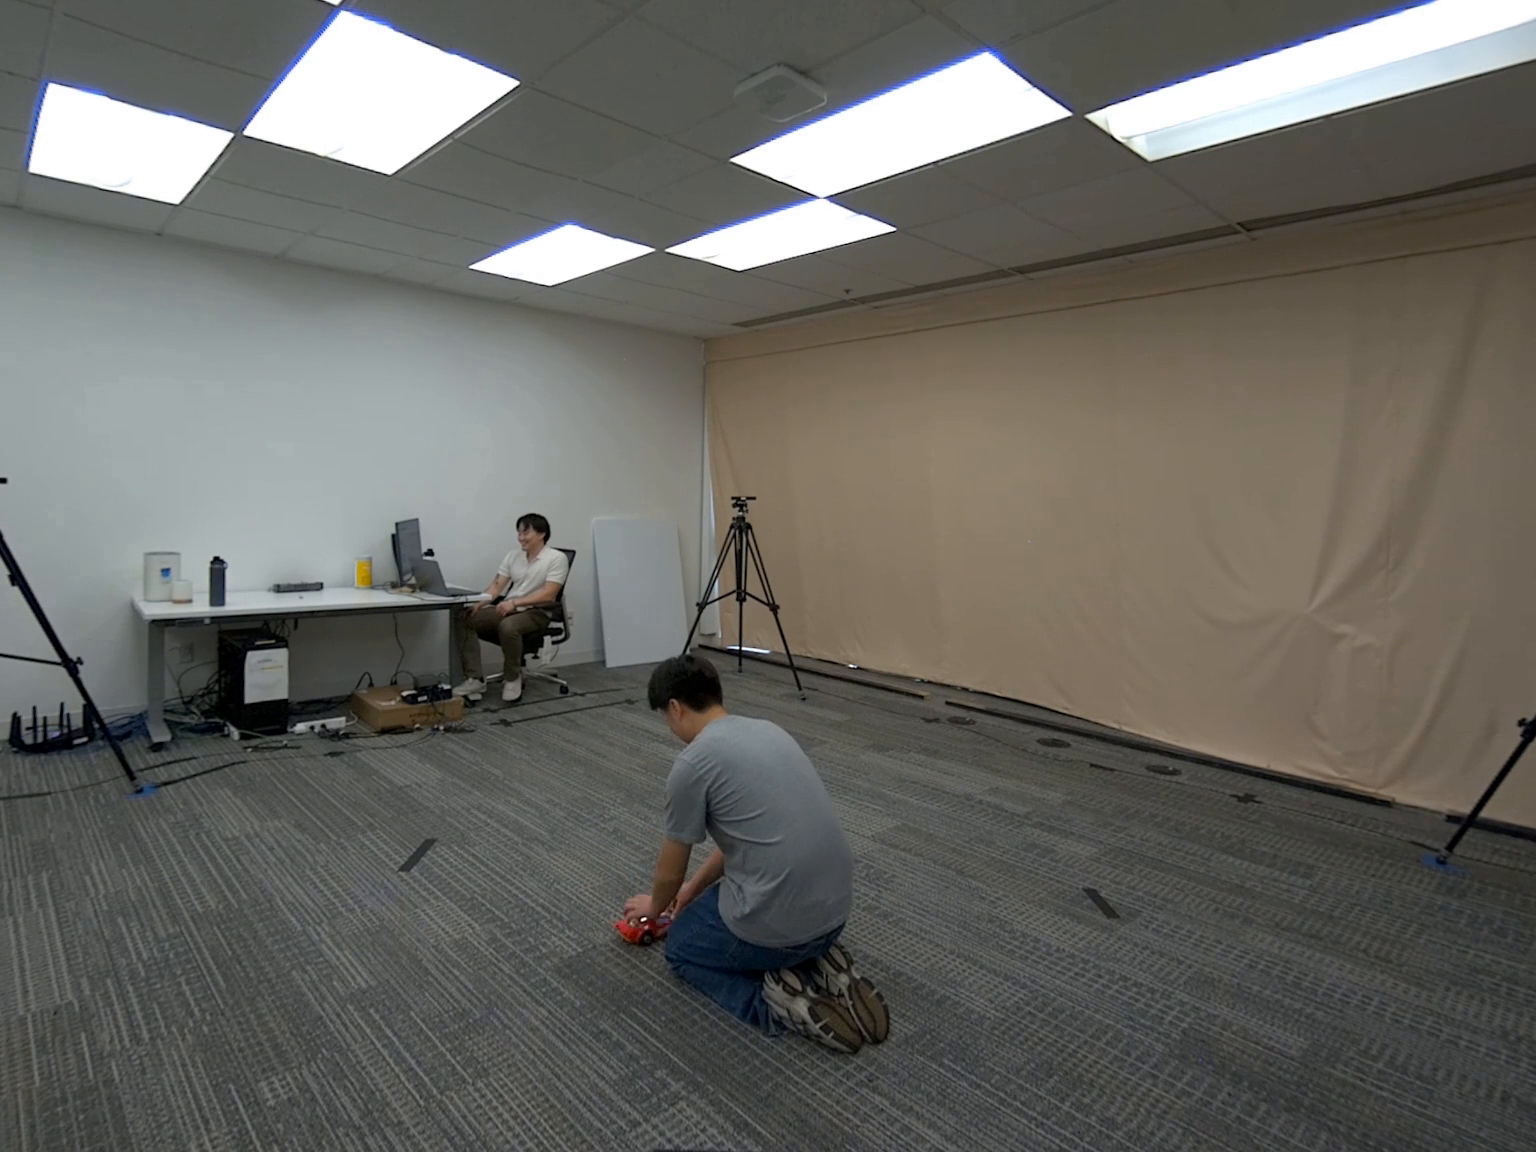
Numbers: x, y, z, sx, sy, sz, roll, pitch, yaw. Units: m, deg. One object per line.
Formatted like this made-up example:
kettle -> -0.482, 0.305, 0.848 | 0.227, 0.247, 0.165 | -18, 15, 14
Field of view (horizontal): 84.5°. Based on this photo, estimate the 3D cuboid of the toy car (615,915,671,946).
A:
toy car -> -0.373, 1.108, 2.674 | 0.248, 0.083, 0.133 | 14, -3, -33
